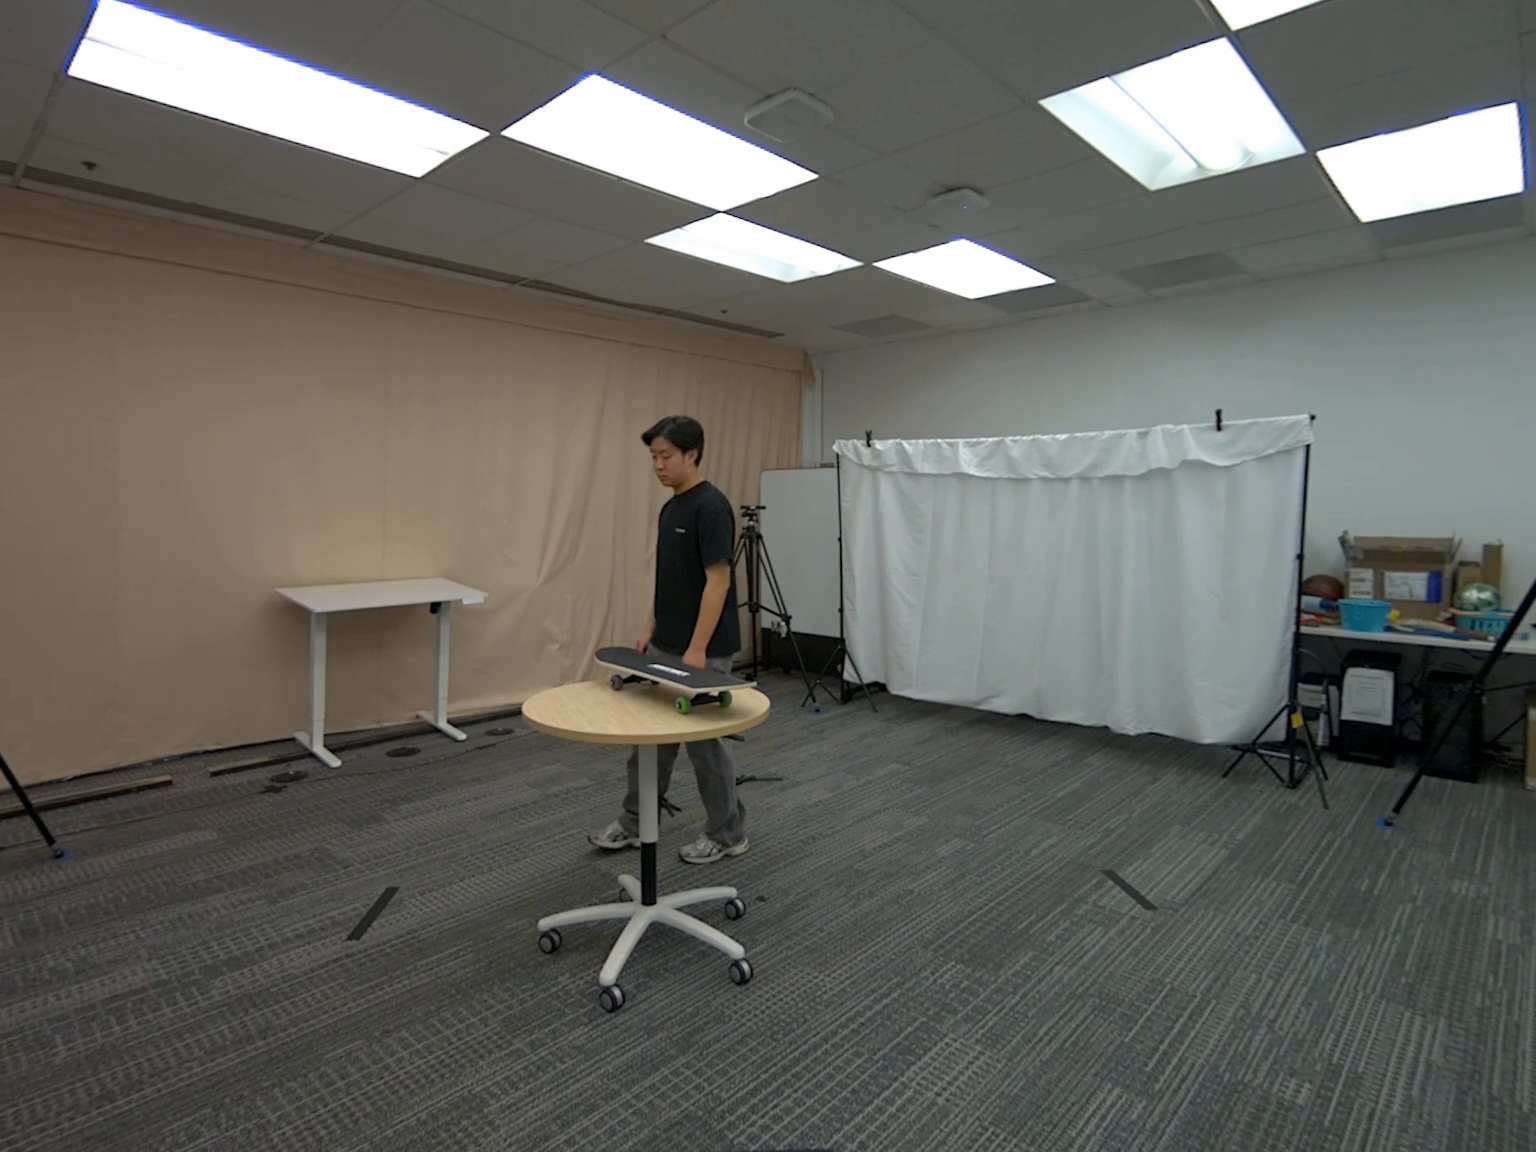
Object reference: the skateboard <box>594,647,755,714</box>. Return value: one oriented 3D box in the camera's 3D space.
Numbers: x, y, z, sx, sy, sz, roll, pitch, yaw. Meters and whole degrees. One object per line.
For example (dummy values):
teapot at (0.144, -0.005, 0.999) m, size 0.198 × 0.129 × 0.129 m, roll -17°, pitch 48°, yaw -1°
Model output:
skateboard at (-0.310, 0.339, 2.688) m, size 0.187 × 0.110 × 0.811 m, roll -1°, pitch 4°, yaw -39°
